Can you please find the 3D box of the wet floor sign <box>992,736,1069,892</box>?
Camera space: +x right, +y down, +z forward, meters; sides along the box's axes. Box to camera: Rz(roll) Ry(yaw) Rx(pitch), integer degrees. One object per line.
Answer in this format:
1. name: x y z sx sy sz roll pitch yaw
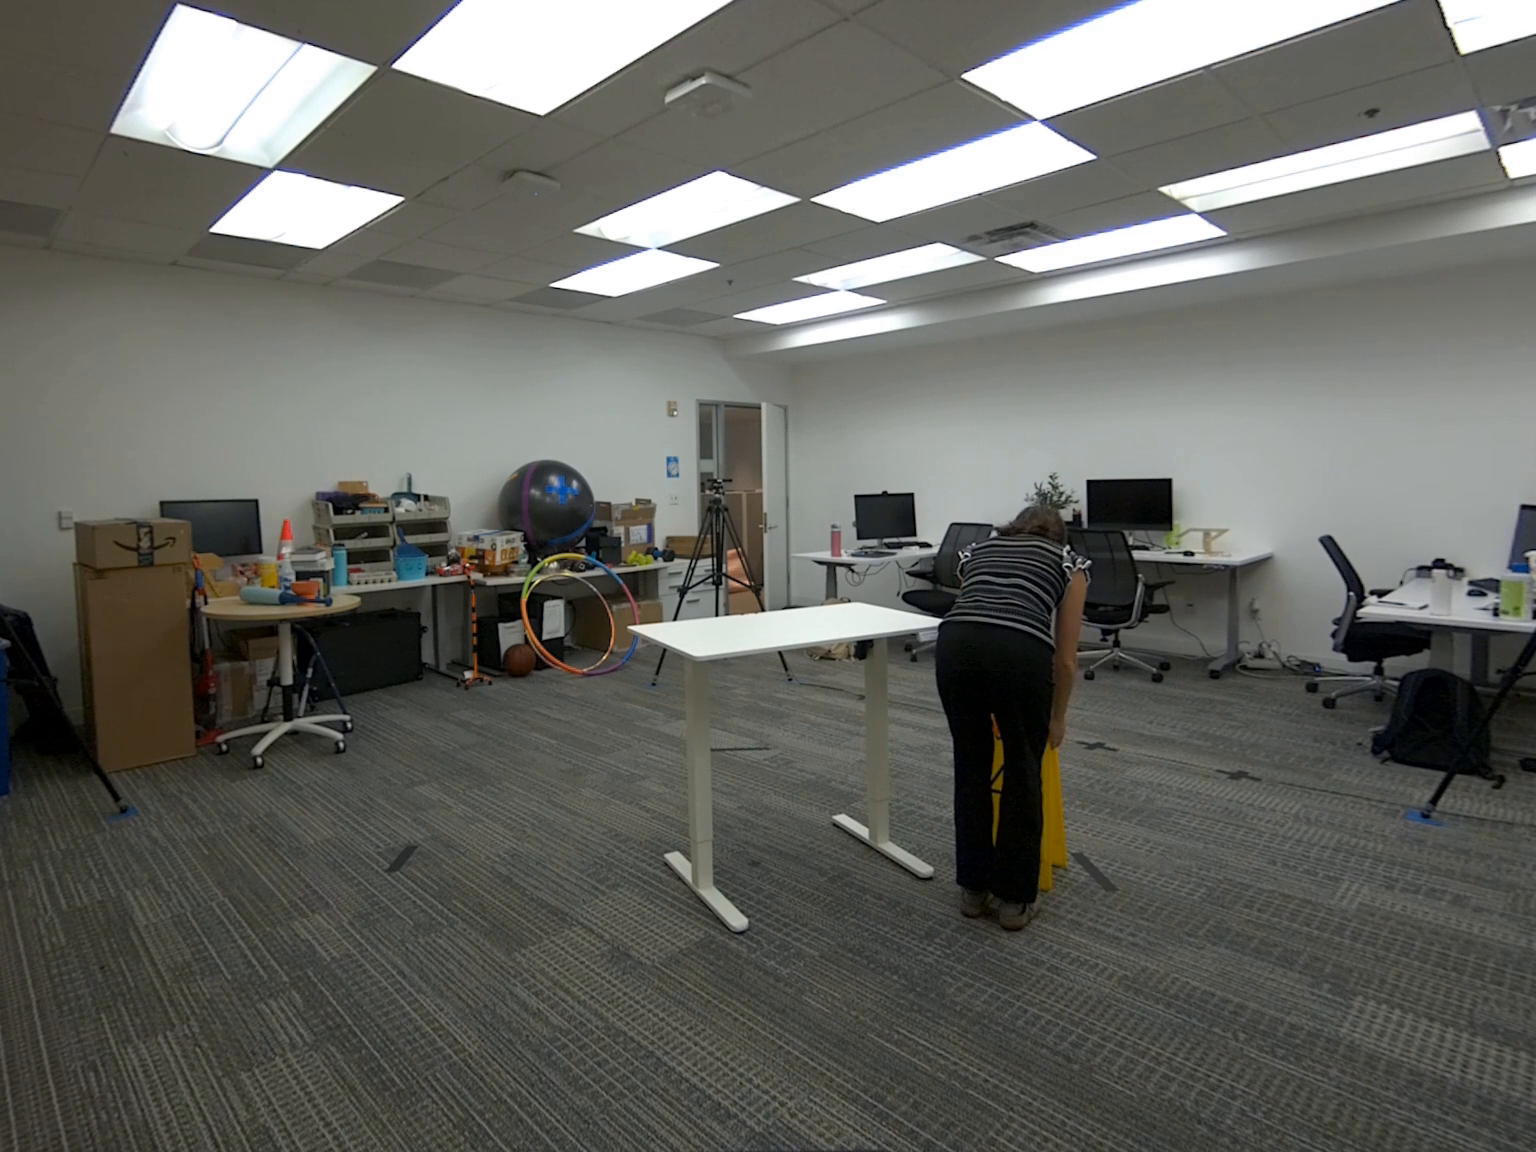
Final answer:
1. wet floor sign: 0.897 0.718 3.003 0.290 0.644 0.282 1 3 32
